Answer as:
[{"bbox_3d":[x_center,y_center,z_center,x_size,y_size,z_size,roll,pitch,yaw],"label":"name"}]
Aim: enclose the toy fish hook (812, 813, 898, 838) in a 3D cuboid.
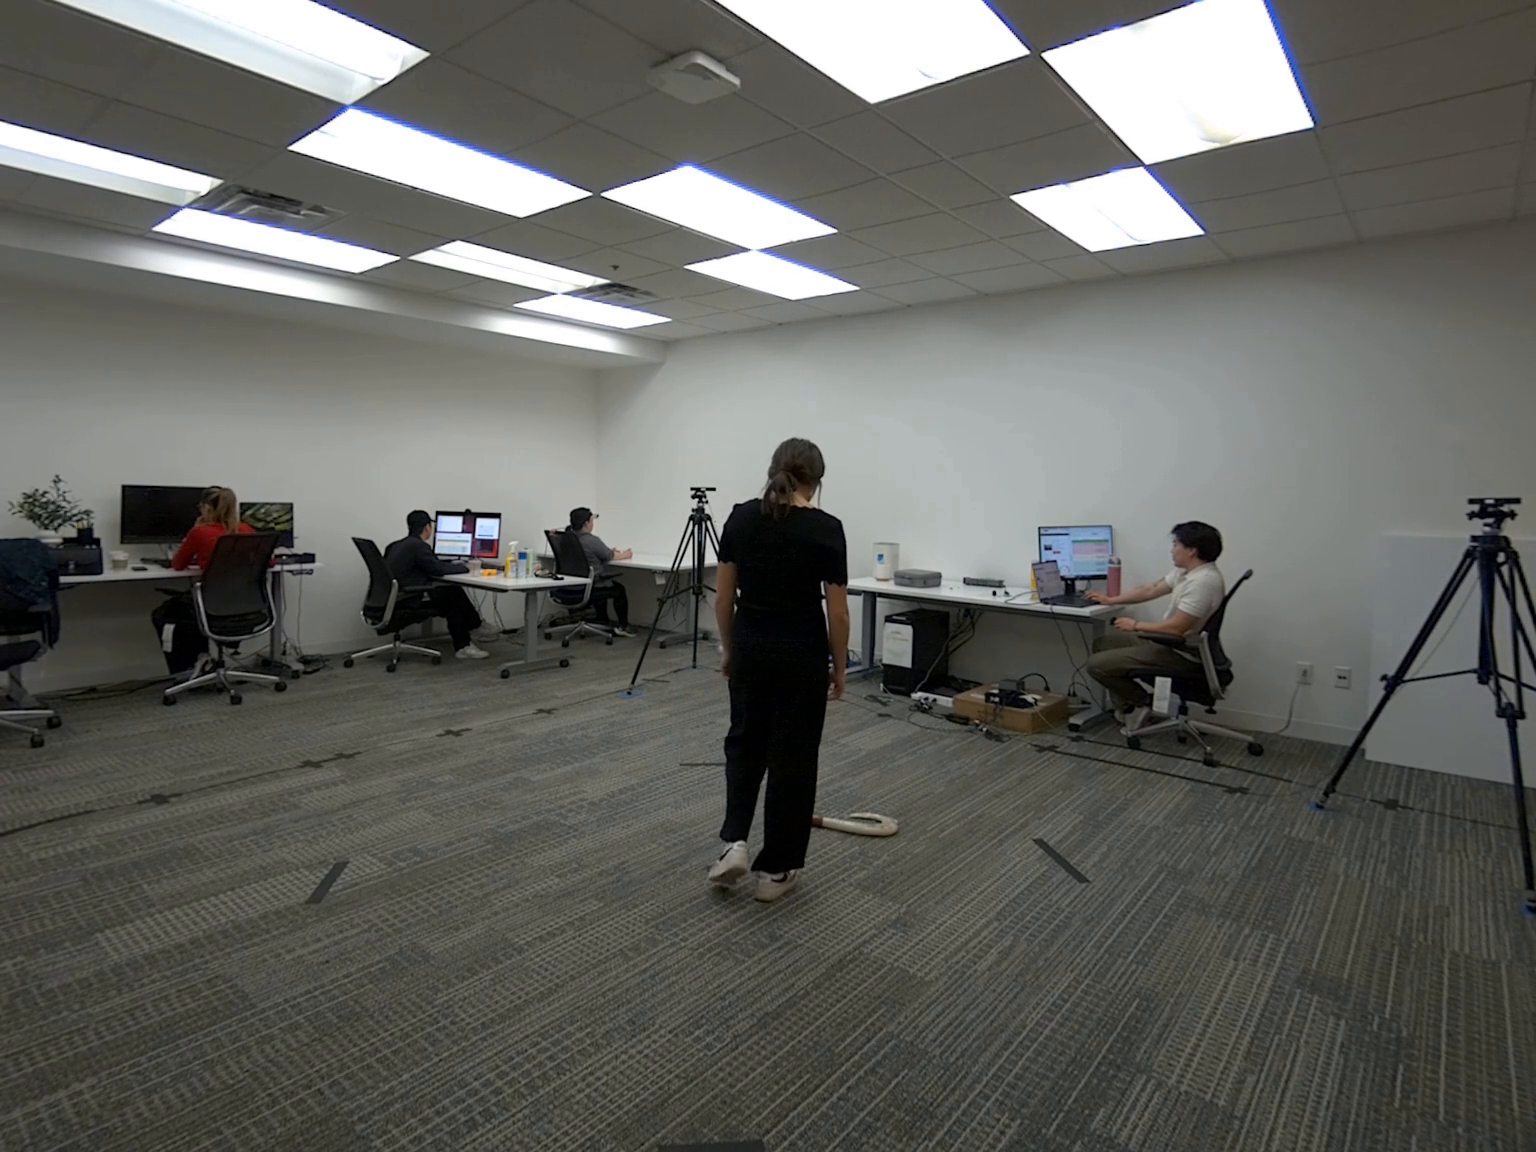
[{"bbox_3d":[0.272,1.014,3.551,0.512,0.048,0.221,3,-2,10],"label":"toy fish hook"}]
